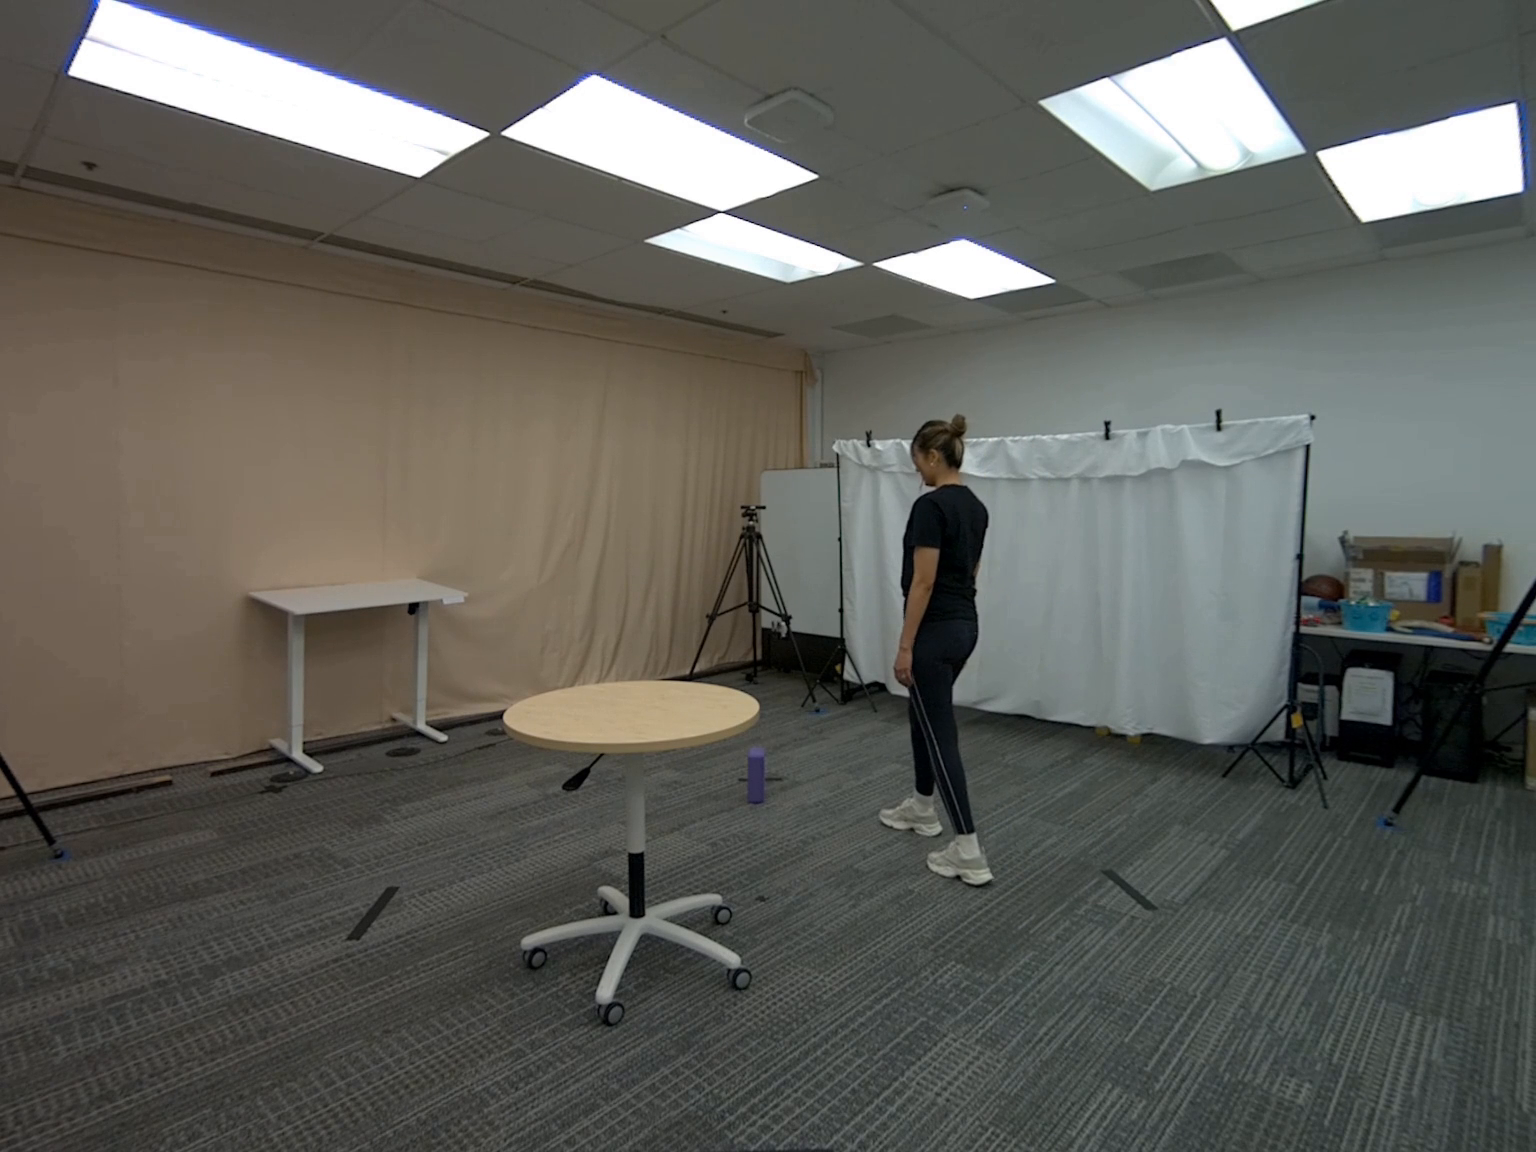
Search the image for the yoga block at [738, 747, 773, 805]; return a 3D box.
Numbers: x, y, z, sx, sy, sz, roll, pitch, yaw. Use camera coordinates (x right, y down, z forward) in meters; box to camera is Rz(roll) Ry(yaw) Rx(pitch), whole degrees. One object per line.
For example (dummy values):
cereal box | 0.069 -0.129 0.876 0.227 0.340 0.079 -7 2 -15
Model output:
yoga block | -0.058 0.948 4.016 0.077 0.229 0.148 -1 0 2
